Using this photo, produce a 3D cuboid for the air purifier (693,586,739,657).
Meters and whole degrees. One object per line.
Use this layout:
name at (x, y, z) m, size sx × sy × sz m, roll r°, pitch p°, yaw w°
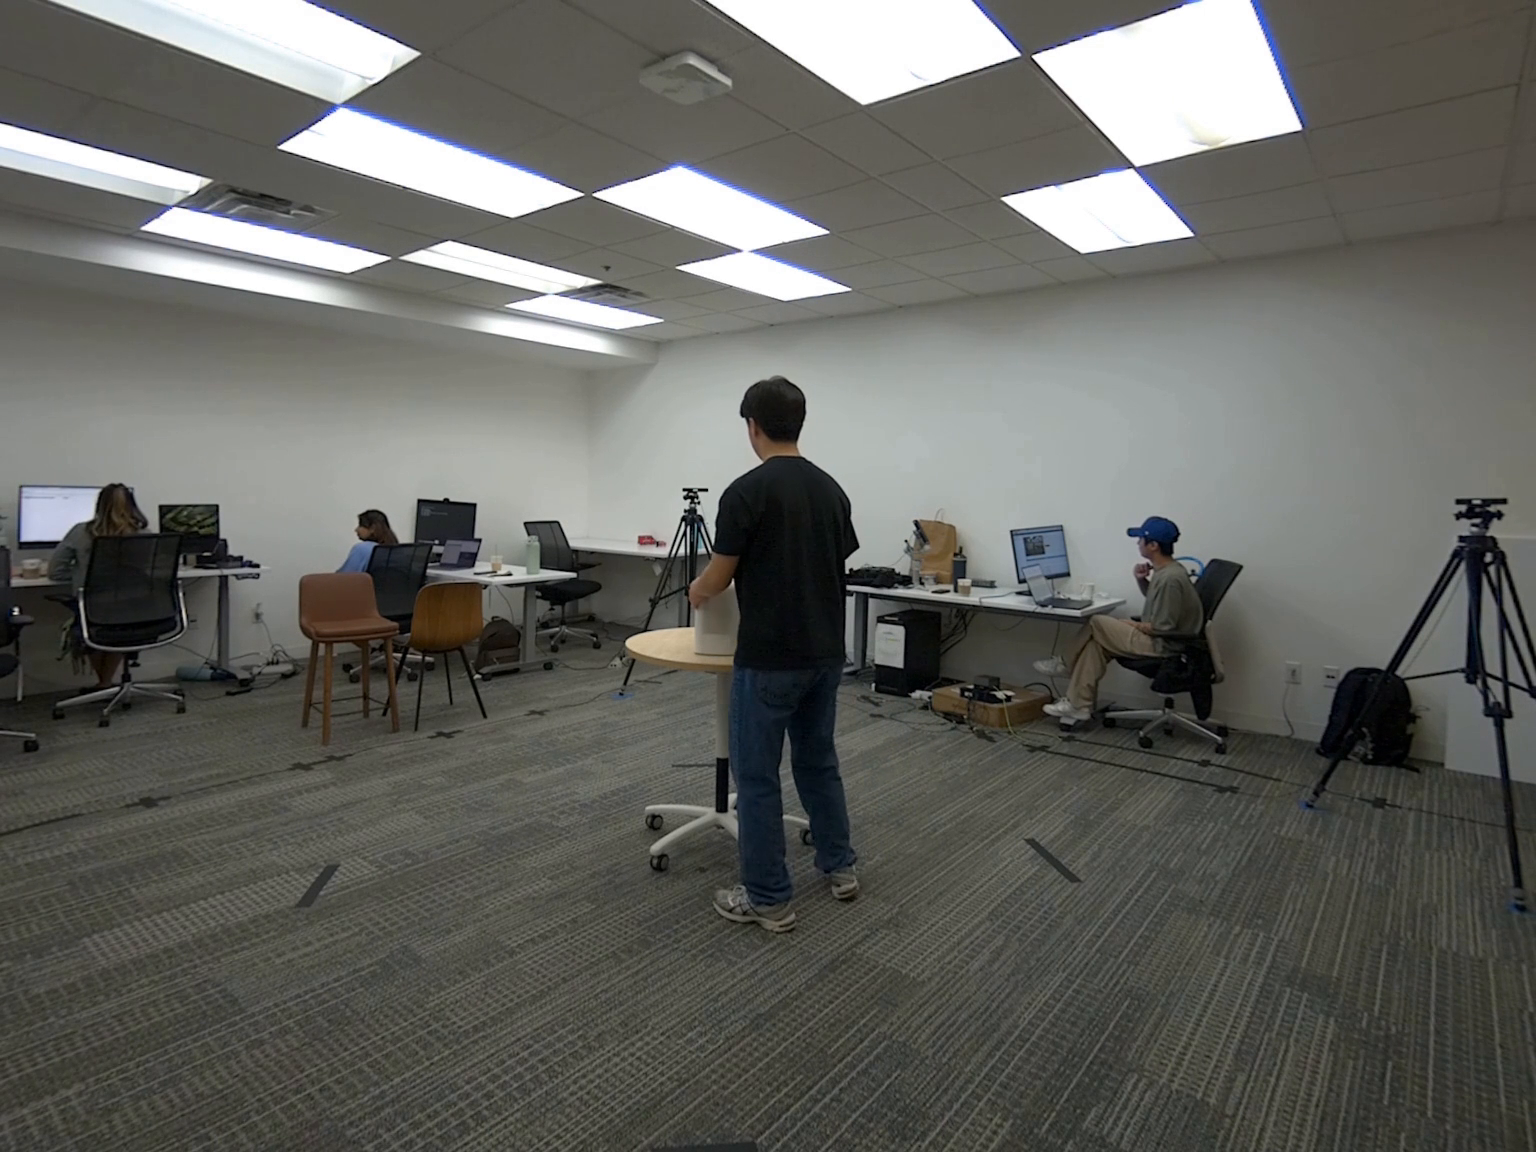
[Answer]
air purifier at (-0.192, 0.146, 3.112) m, size 0.172 × 0.265 × 0.171 m, roll -1°, pitch 3°, yaw 3°
